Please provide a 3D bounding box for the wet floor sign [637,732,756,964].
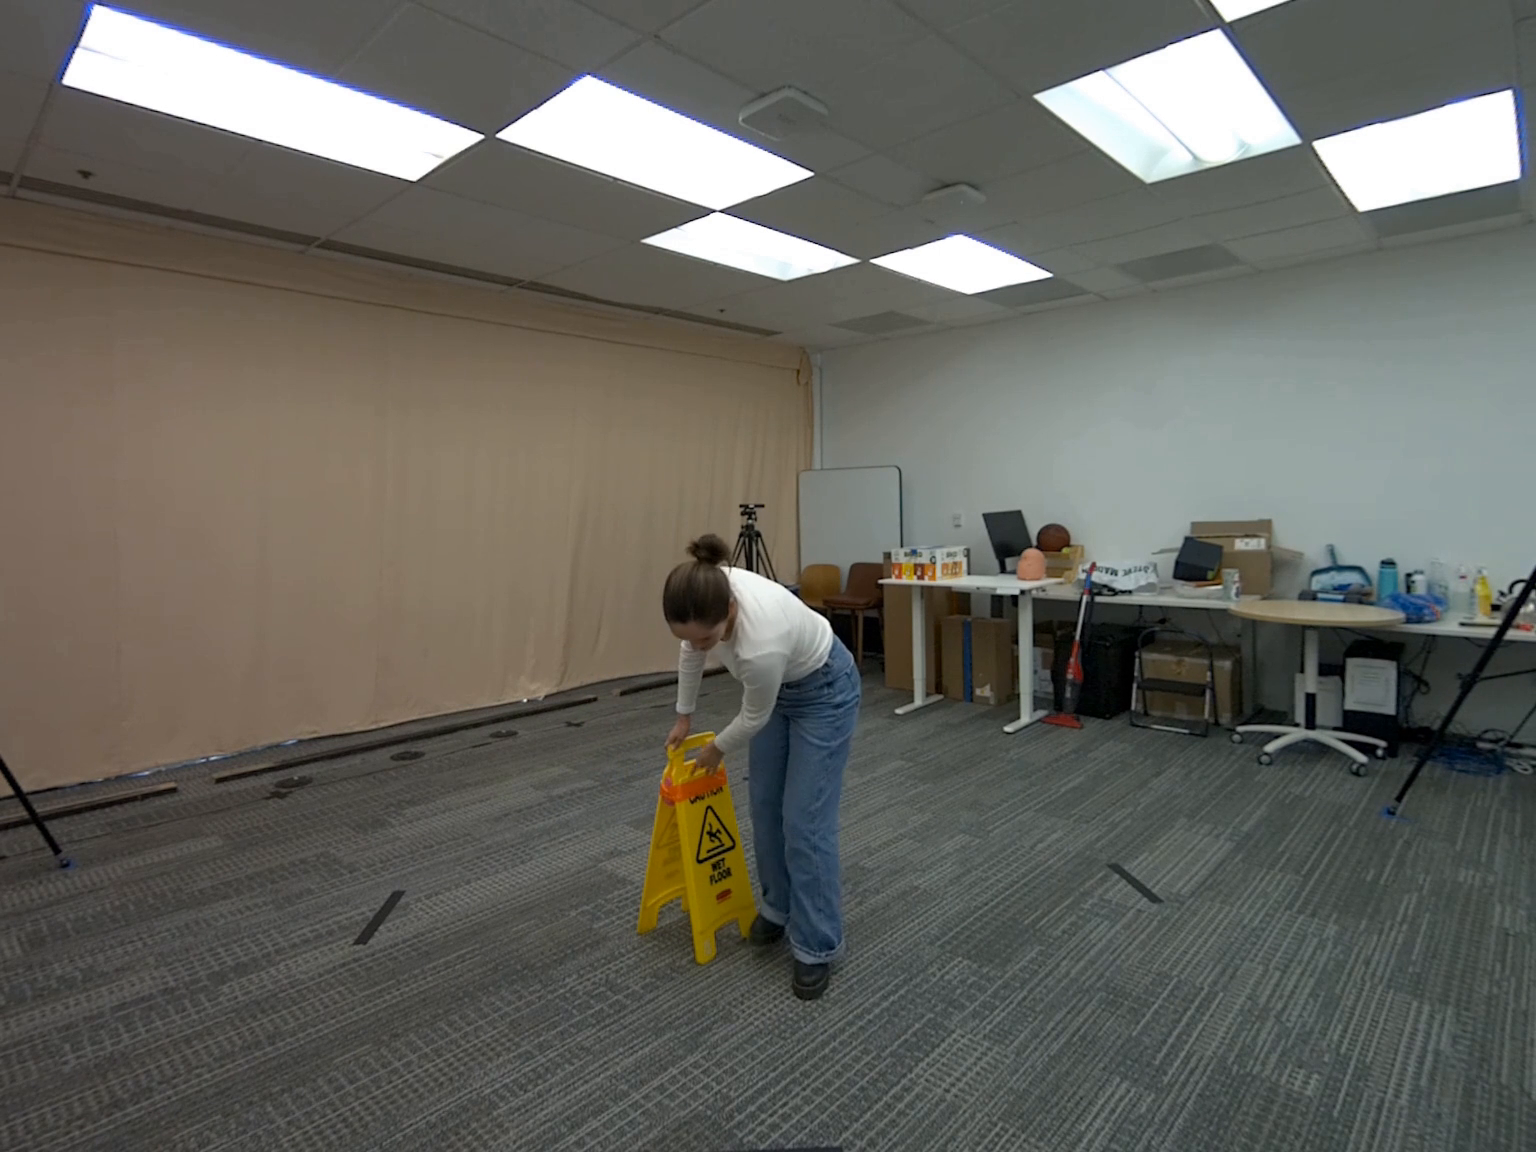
[{"bbox_3d":[-0.236,0.842,2.734,0.299,0.645,0.274,1,3,43],"label":"wet floor sign"}]
